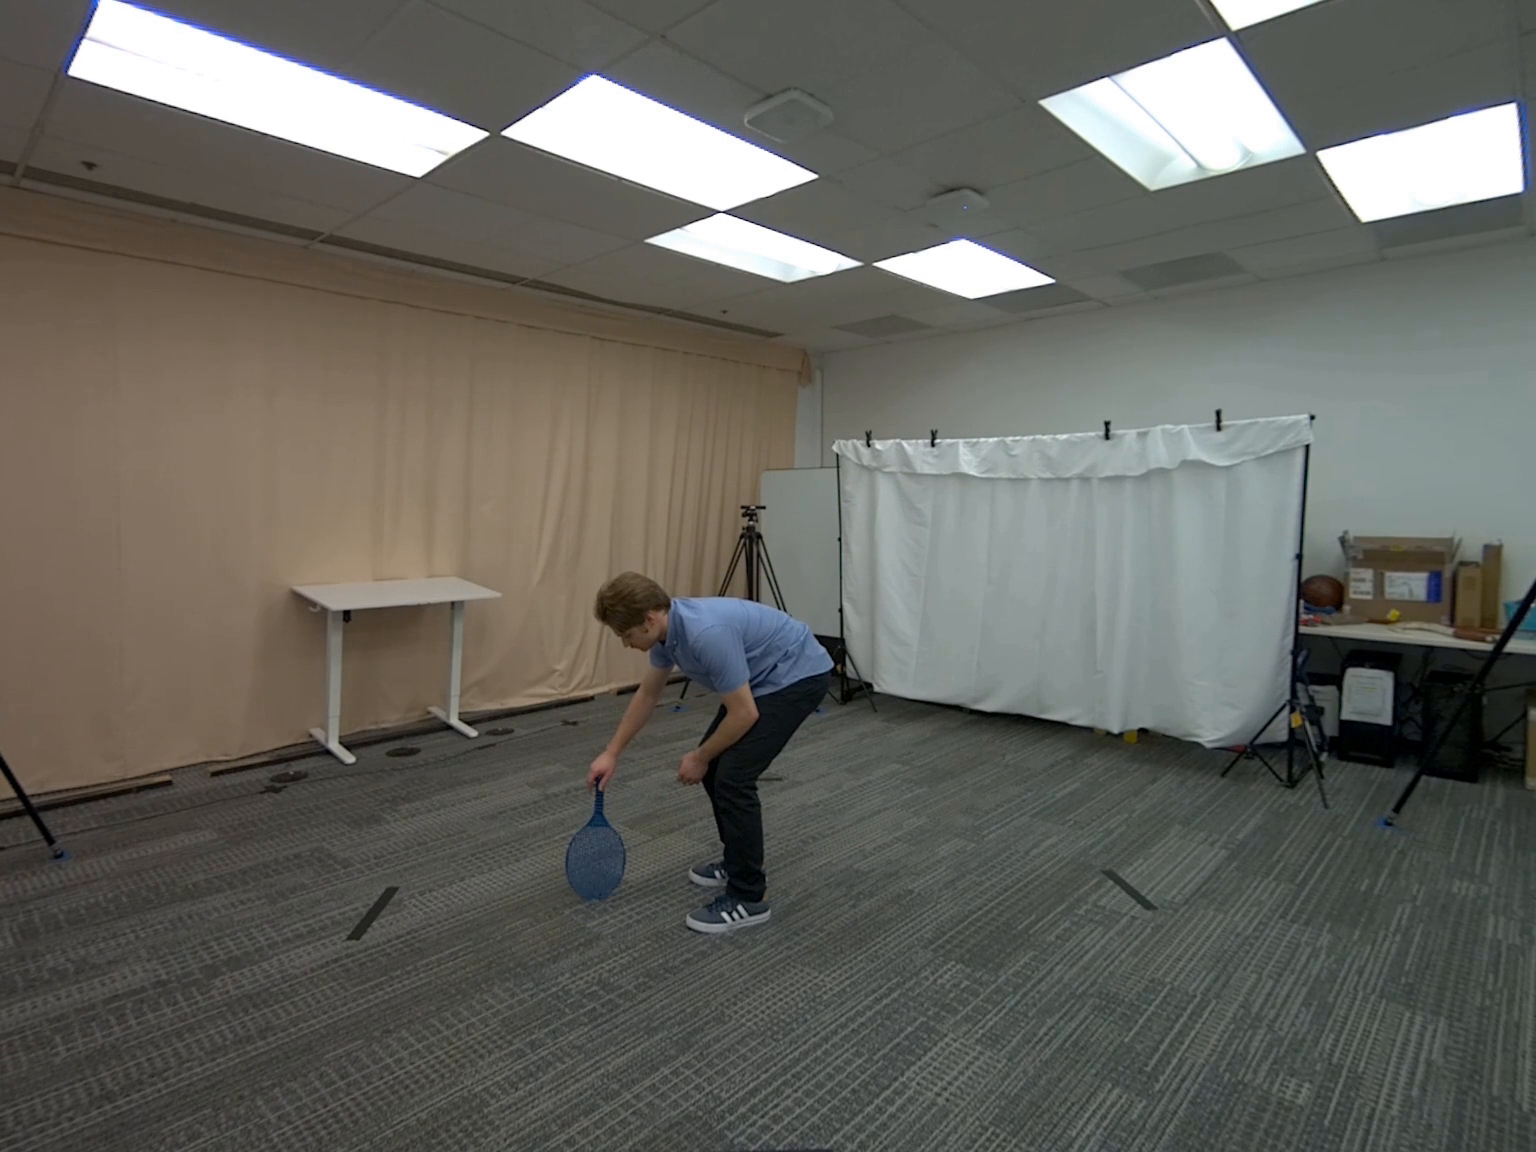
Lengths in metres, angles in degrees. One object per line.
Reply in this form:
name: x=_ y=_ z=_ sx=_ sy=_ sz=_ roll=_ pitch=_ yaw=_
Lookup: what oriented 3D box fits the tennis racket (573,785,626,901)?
tennis racket: x=-0.589 y=0.932 z=3.004 sx=0.031 sy=0.430 sz=0.221 roll=-6 pitch=12 yaw=-42
